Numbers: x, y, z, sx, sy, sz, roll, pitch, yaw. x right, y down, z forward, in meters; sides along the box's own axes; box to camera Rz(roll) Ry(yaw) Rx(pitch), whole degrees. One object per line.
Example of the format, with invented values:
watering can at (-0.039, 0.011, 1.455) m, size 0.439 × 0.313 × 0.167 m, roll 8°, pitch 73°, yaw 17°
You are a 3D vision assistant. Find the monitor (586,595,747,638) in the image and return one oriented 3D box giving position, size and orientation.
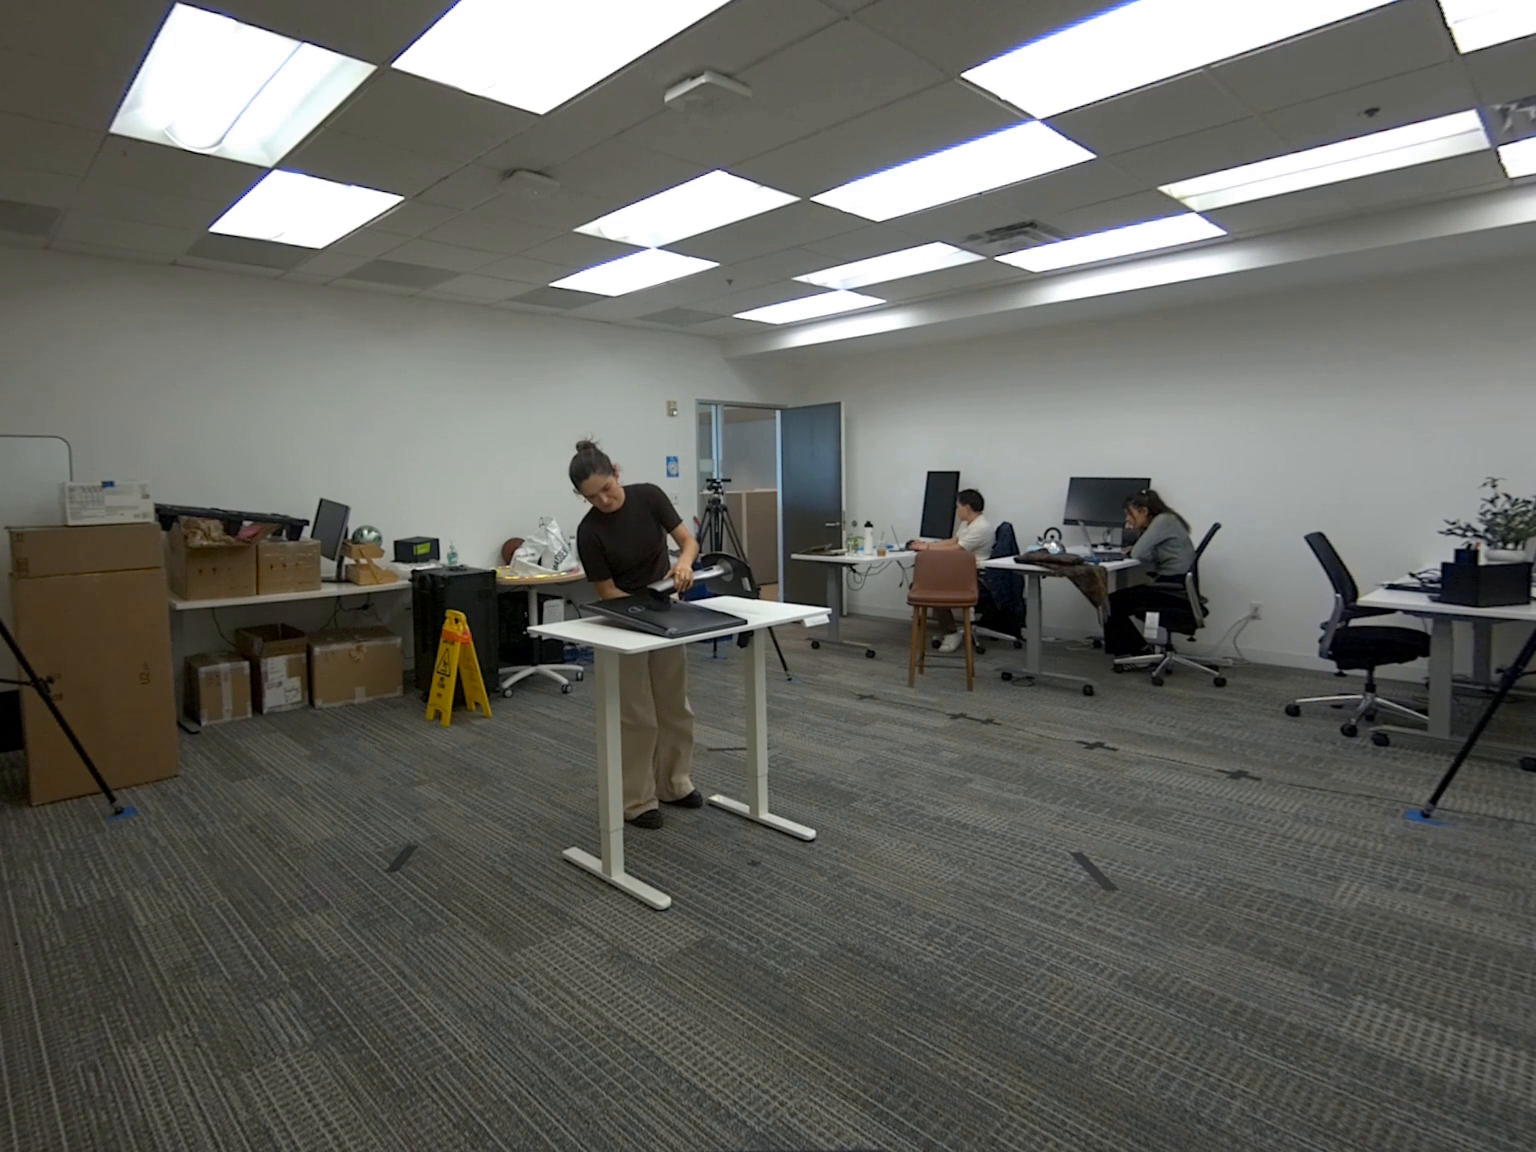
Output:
monitor at (-0.318, 0.083, 3.125) m, size 0.556 × 0.184 × 0.515 m, roll 8°, pitch 27°, yaw 45°
